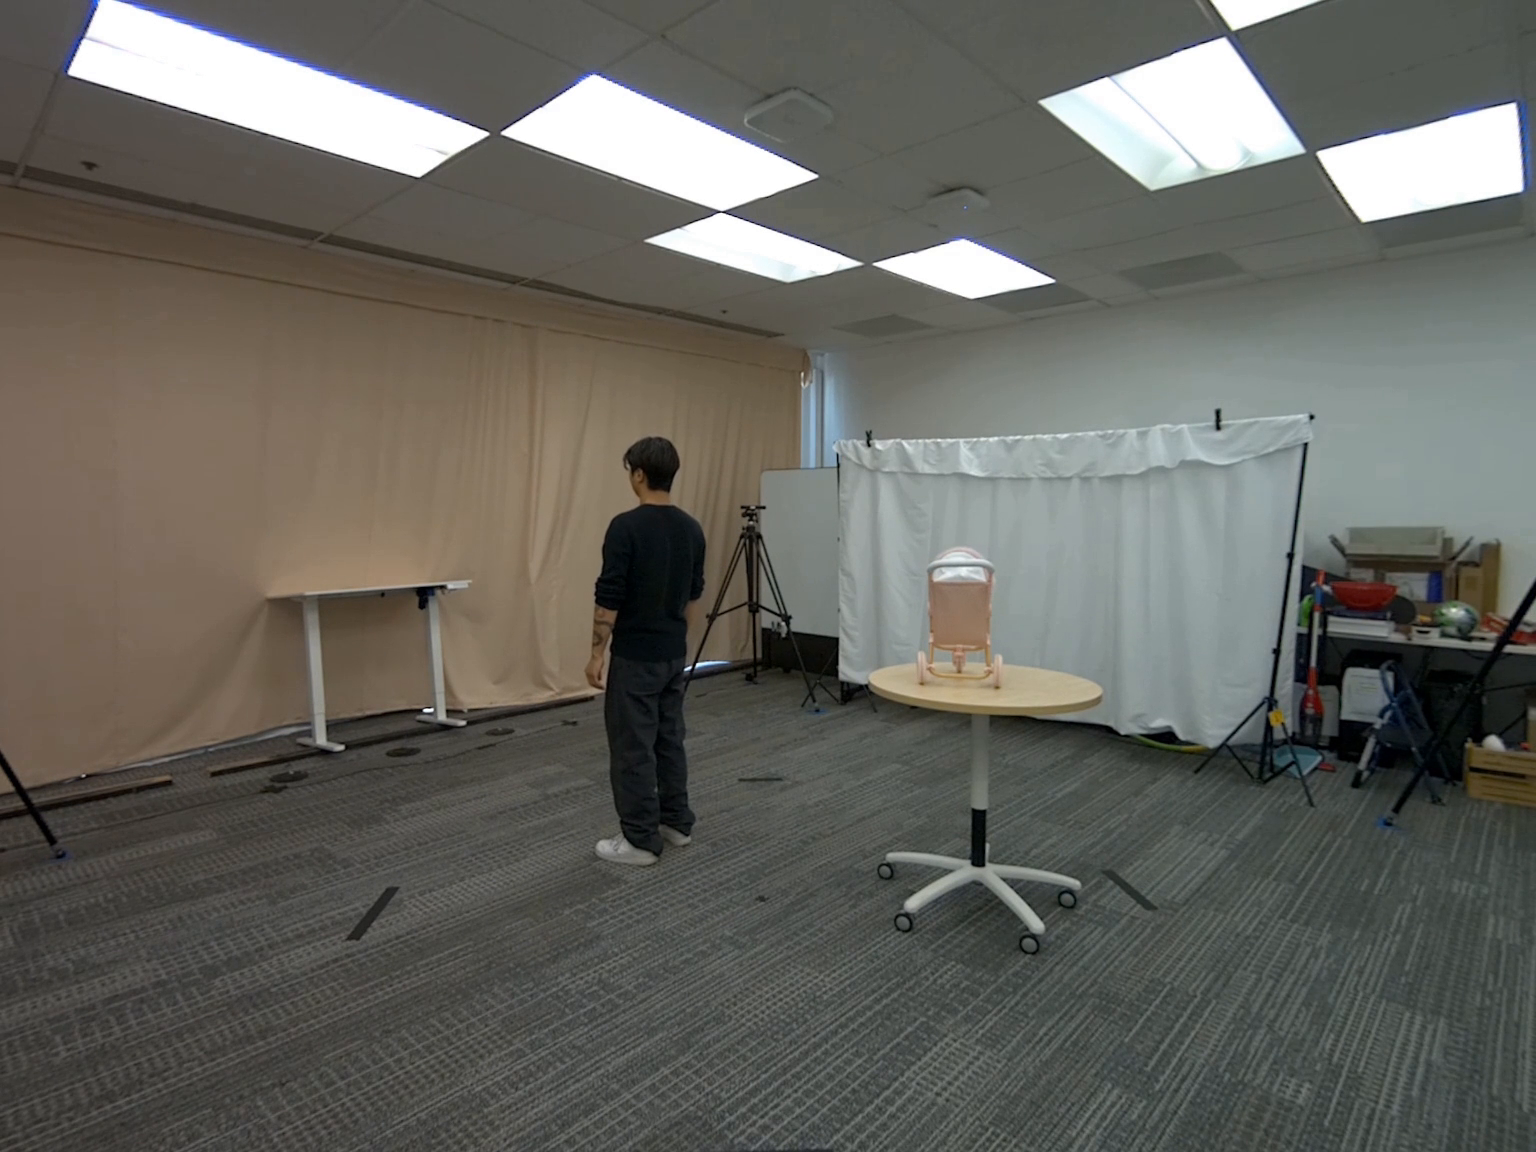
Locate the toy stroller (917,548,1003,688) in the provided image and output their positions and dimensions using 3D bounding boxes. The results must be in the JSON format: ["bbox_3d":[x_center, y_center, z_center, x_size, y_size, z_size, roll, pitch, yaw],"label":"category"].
[{"bbox_3d":[0.675,0.141,2.894,0.287,0.528,0.339,0,19,16],"label":"toy stroller"}]
